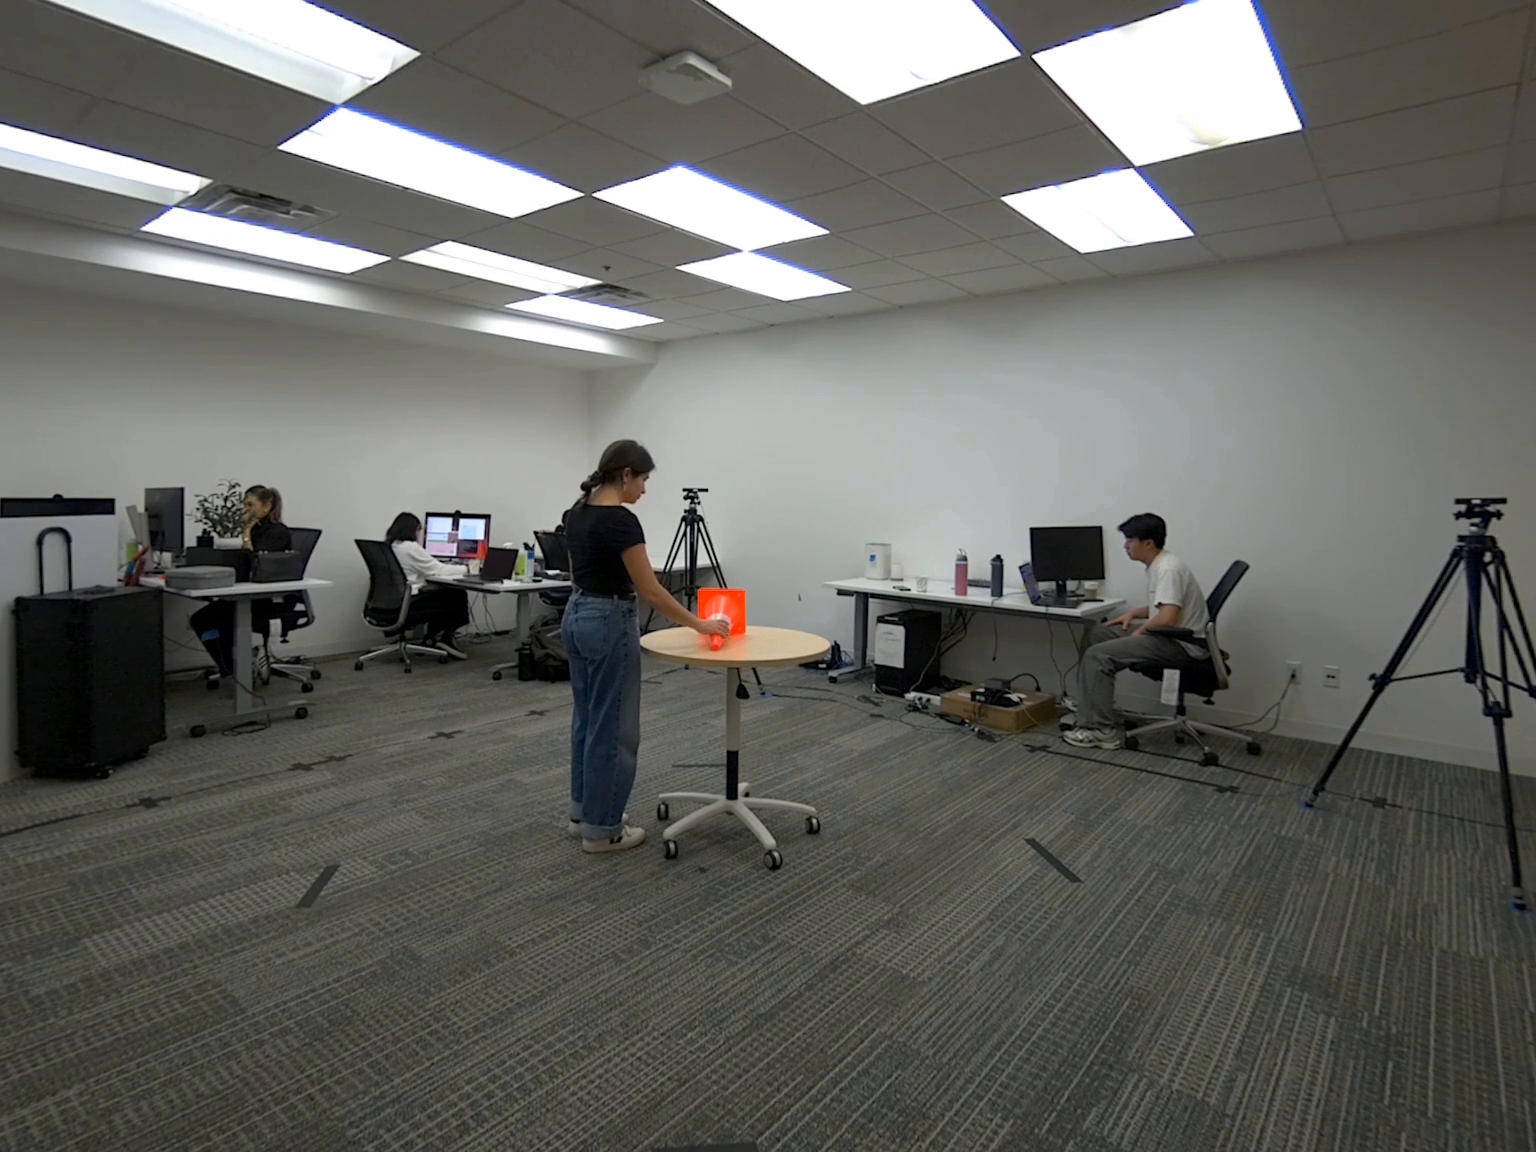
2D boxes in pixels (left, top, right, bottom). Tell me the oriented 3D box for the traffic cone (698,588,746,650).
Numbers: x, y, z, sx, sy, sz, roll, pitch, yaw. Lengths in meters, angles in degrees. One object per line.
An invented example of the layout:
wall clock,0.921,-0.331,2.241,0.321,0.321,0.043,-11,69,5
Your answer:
traffic cone,-0.187,0.199,3.382,0.204,0.201,0.391,2,16,-7
